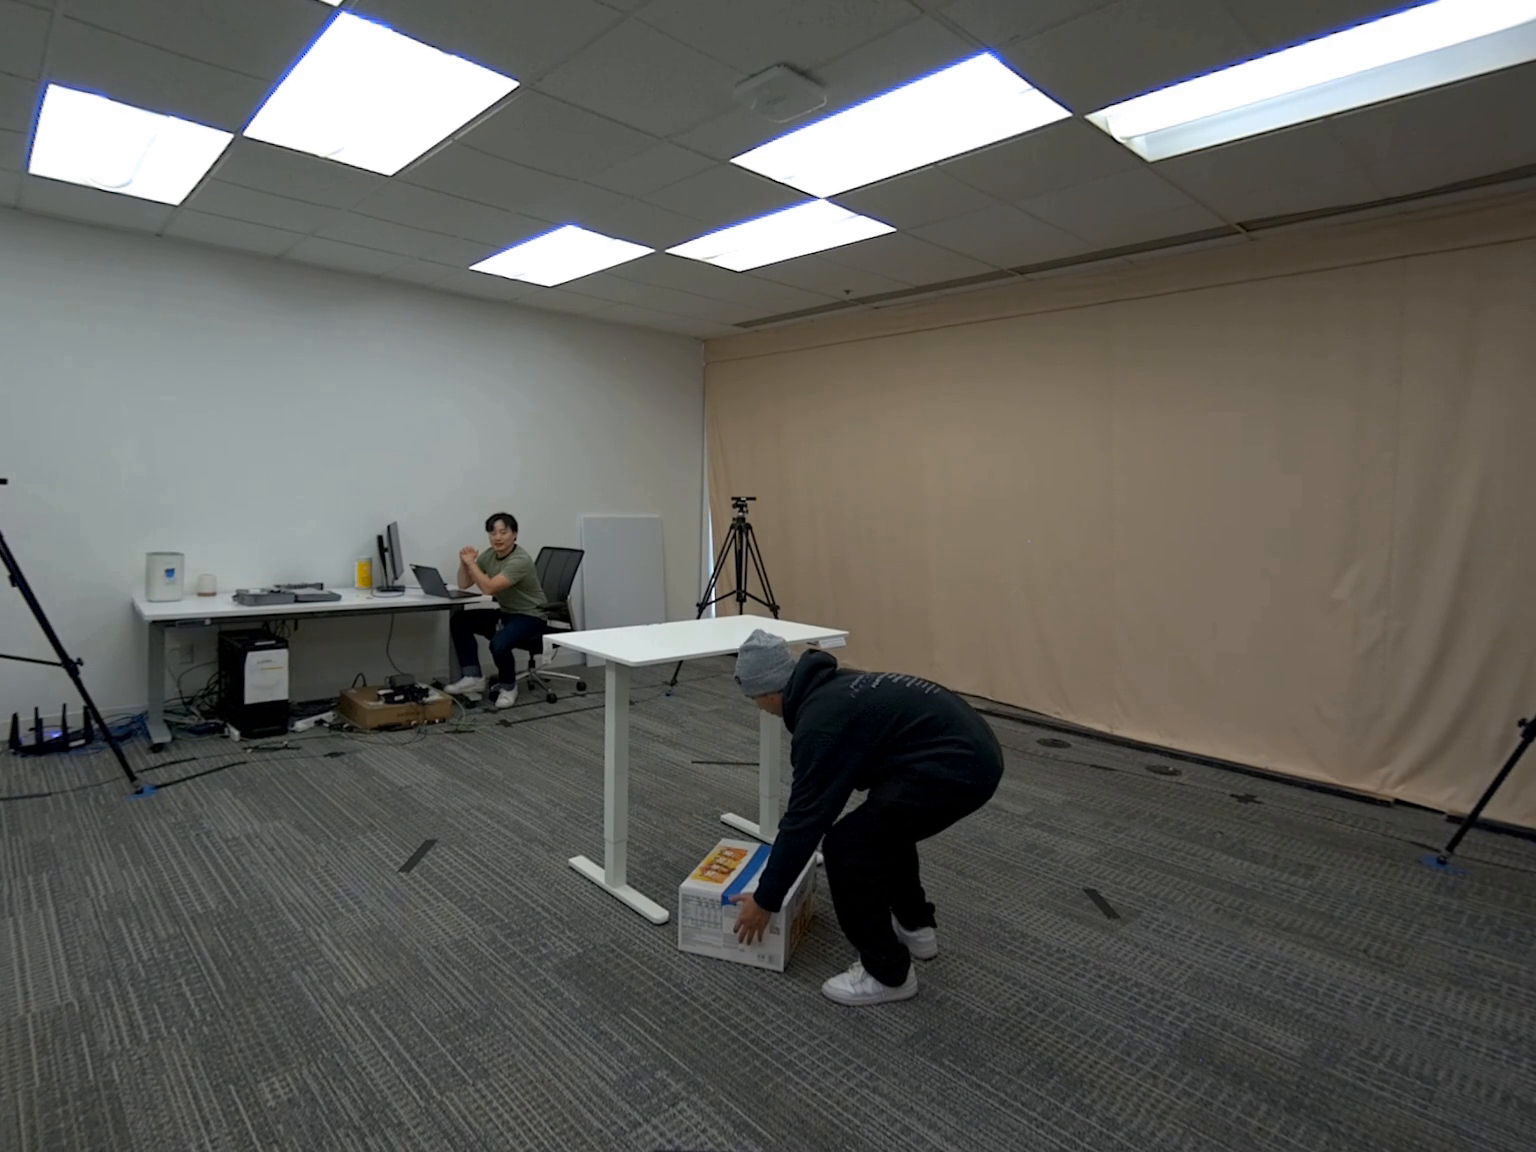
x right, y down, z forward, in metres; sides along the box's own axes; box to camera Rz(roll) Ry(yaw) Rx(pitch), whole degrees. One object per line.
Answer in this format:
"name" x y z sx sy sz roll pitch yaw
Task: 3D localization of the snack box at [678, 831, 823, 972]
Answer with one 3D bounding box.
"snack box" -0.060 1.045 2.705 0.345 0.205 0.400 2 5 18
